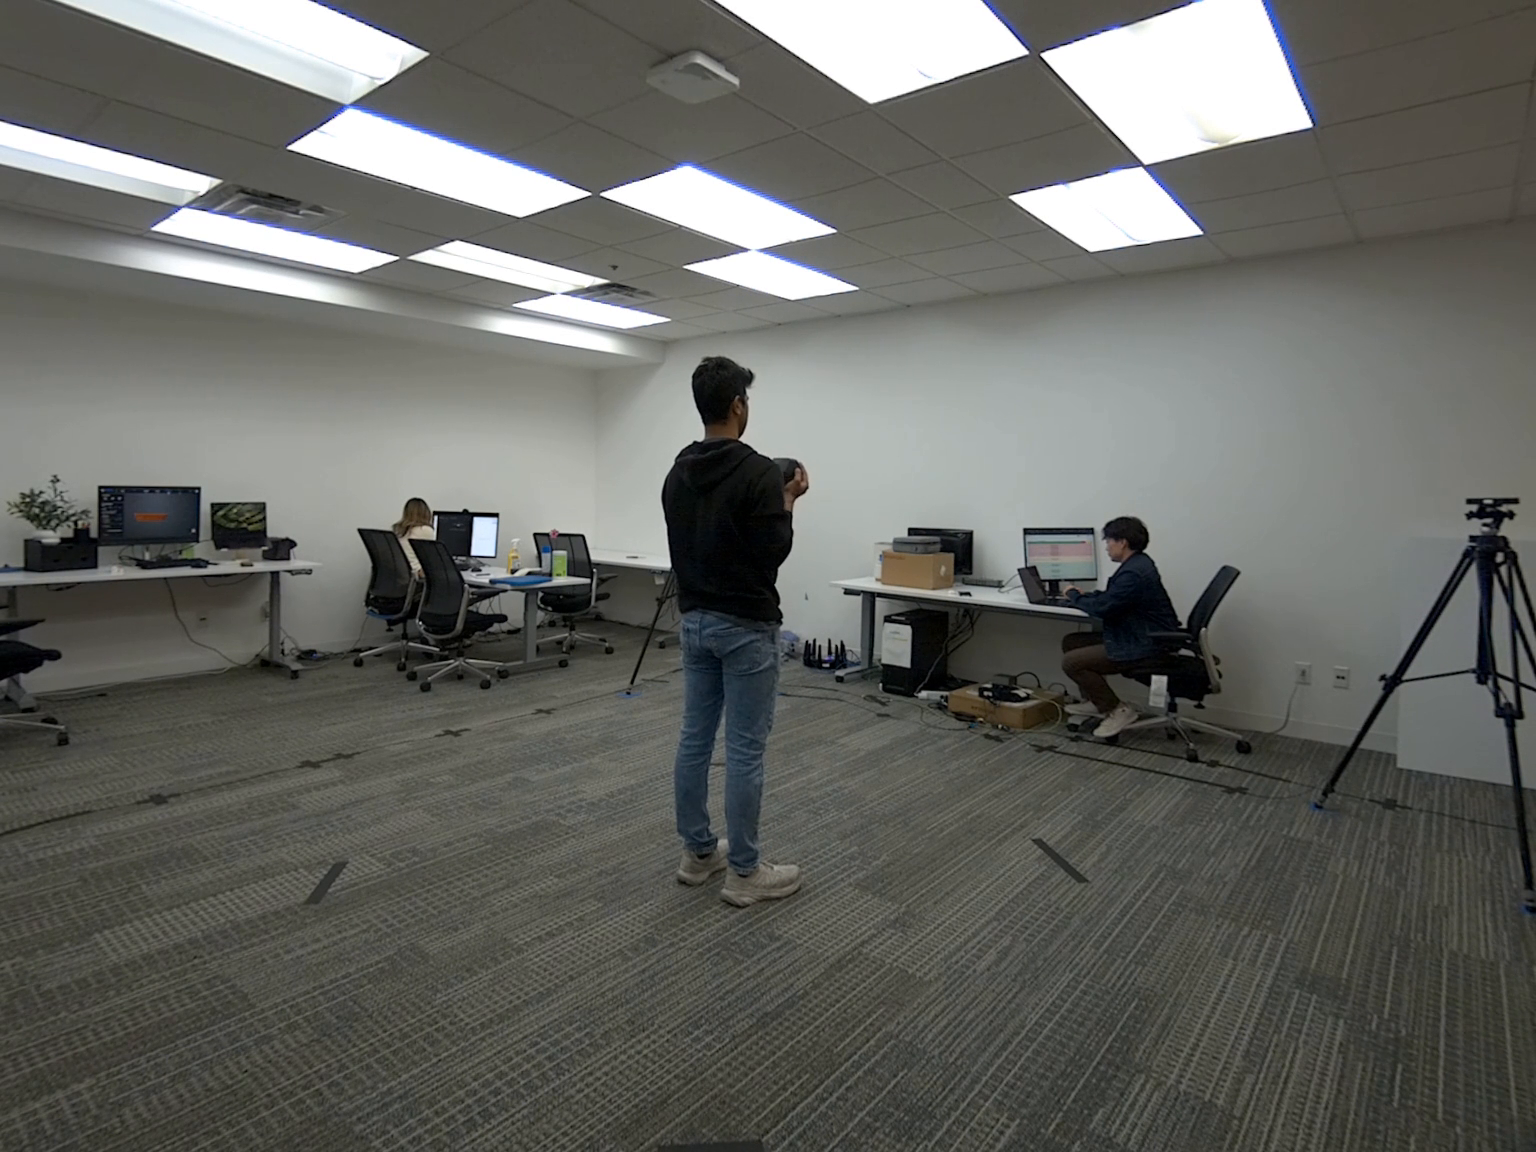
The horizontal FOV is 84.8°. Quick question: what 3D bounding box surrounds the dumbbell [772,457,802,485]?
[{"bbox_3d":[-0.038,-0.353,3.052,0.303,0.109,0.119,4,2,42],"label":"dumbbell"}]
